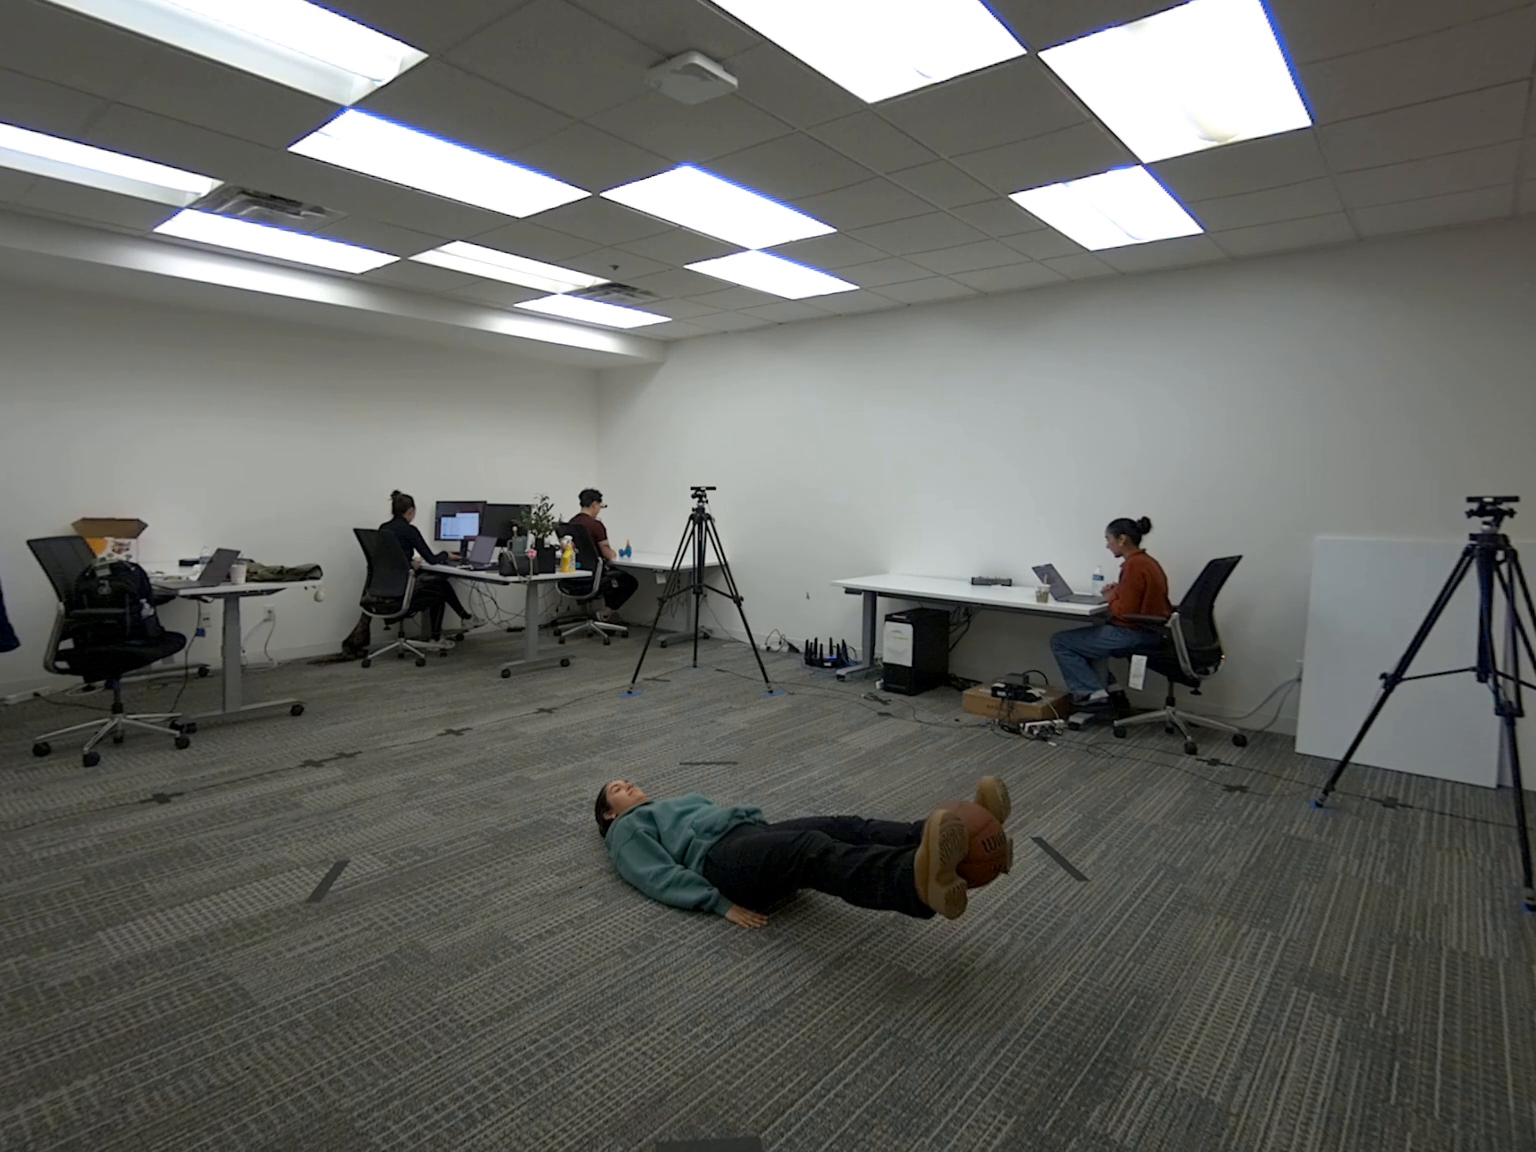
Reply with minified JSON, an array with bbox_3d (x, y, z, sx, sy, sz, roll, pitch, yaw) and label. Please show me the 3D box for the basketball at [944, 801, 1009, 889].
[{"bbox_3d":[0.552,0.757,2.413,0.236,0.235,0.237,0,4,-2],"label":"basketball"}]
